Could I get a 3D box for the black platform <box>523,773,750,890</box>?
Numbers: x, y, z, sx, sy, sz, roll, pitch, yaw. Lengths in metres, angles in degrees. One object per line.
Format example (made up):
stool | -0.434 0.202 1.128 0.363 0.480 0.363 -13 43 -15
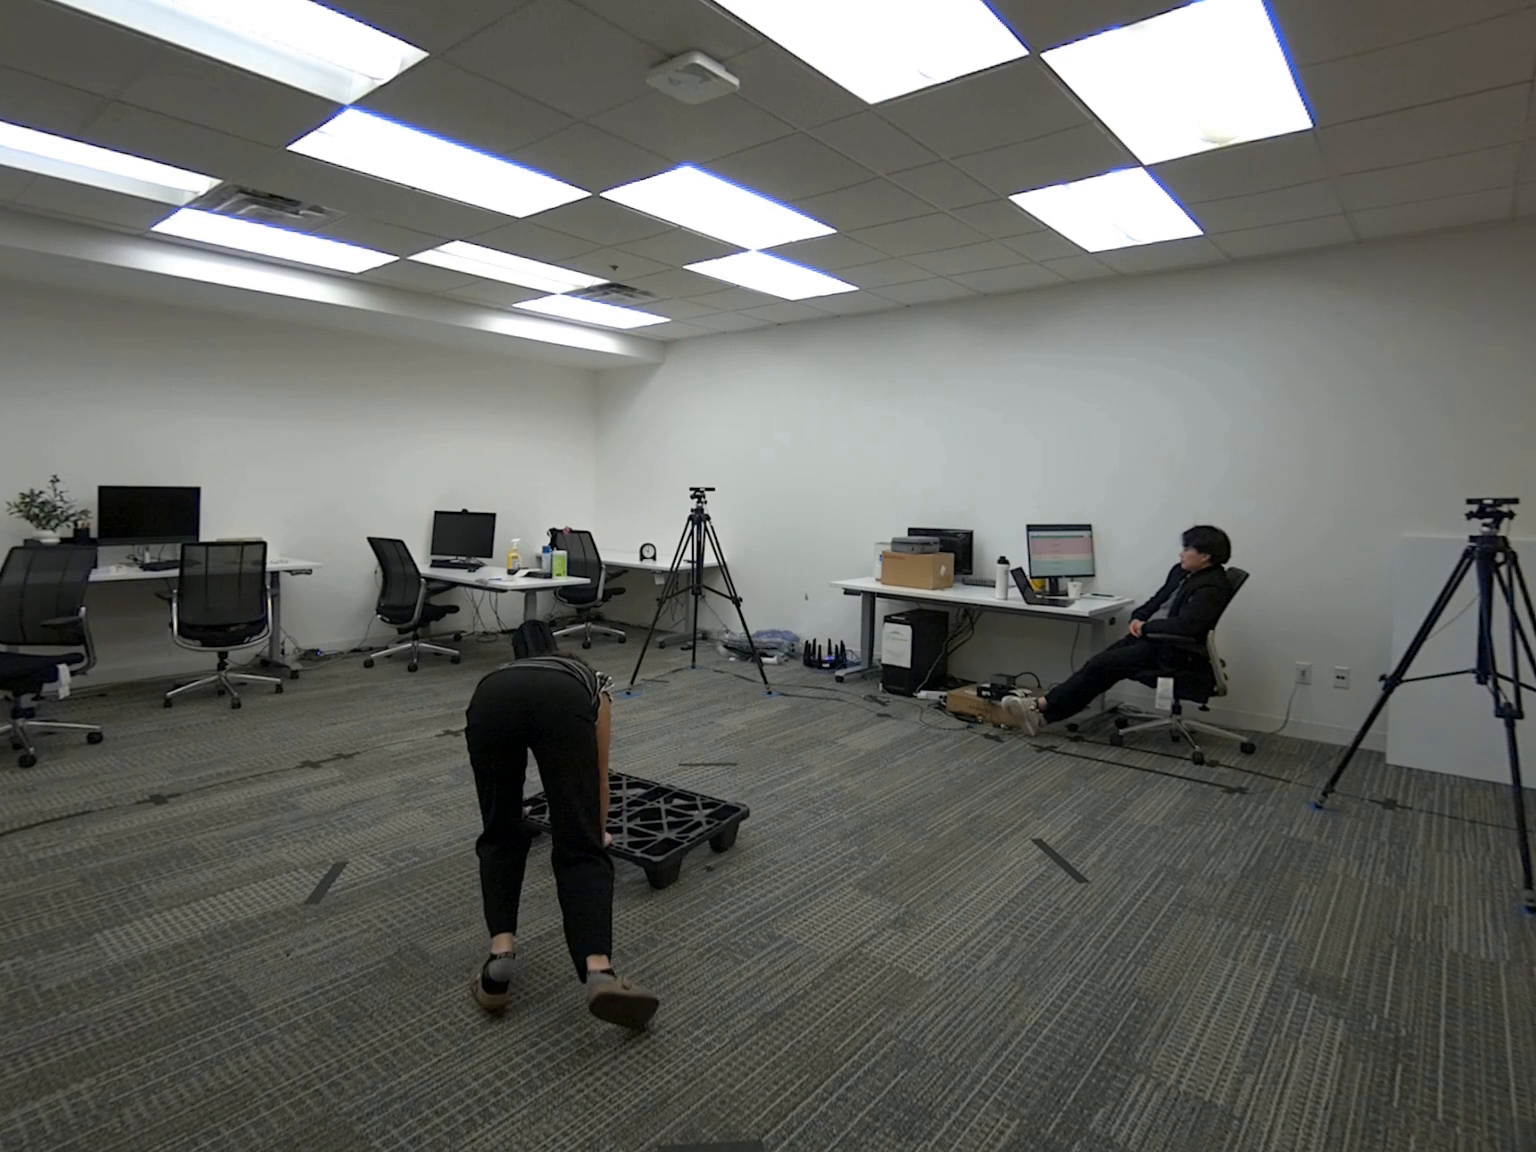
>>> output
black platform | -0.572 0.968 3.329 0.831 0.143 0.589 5 7 33
